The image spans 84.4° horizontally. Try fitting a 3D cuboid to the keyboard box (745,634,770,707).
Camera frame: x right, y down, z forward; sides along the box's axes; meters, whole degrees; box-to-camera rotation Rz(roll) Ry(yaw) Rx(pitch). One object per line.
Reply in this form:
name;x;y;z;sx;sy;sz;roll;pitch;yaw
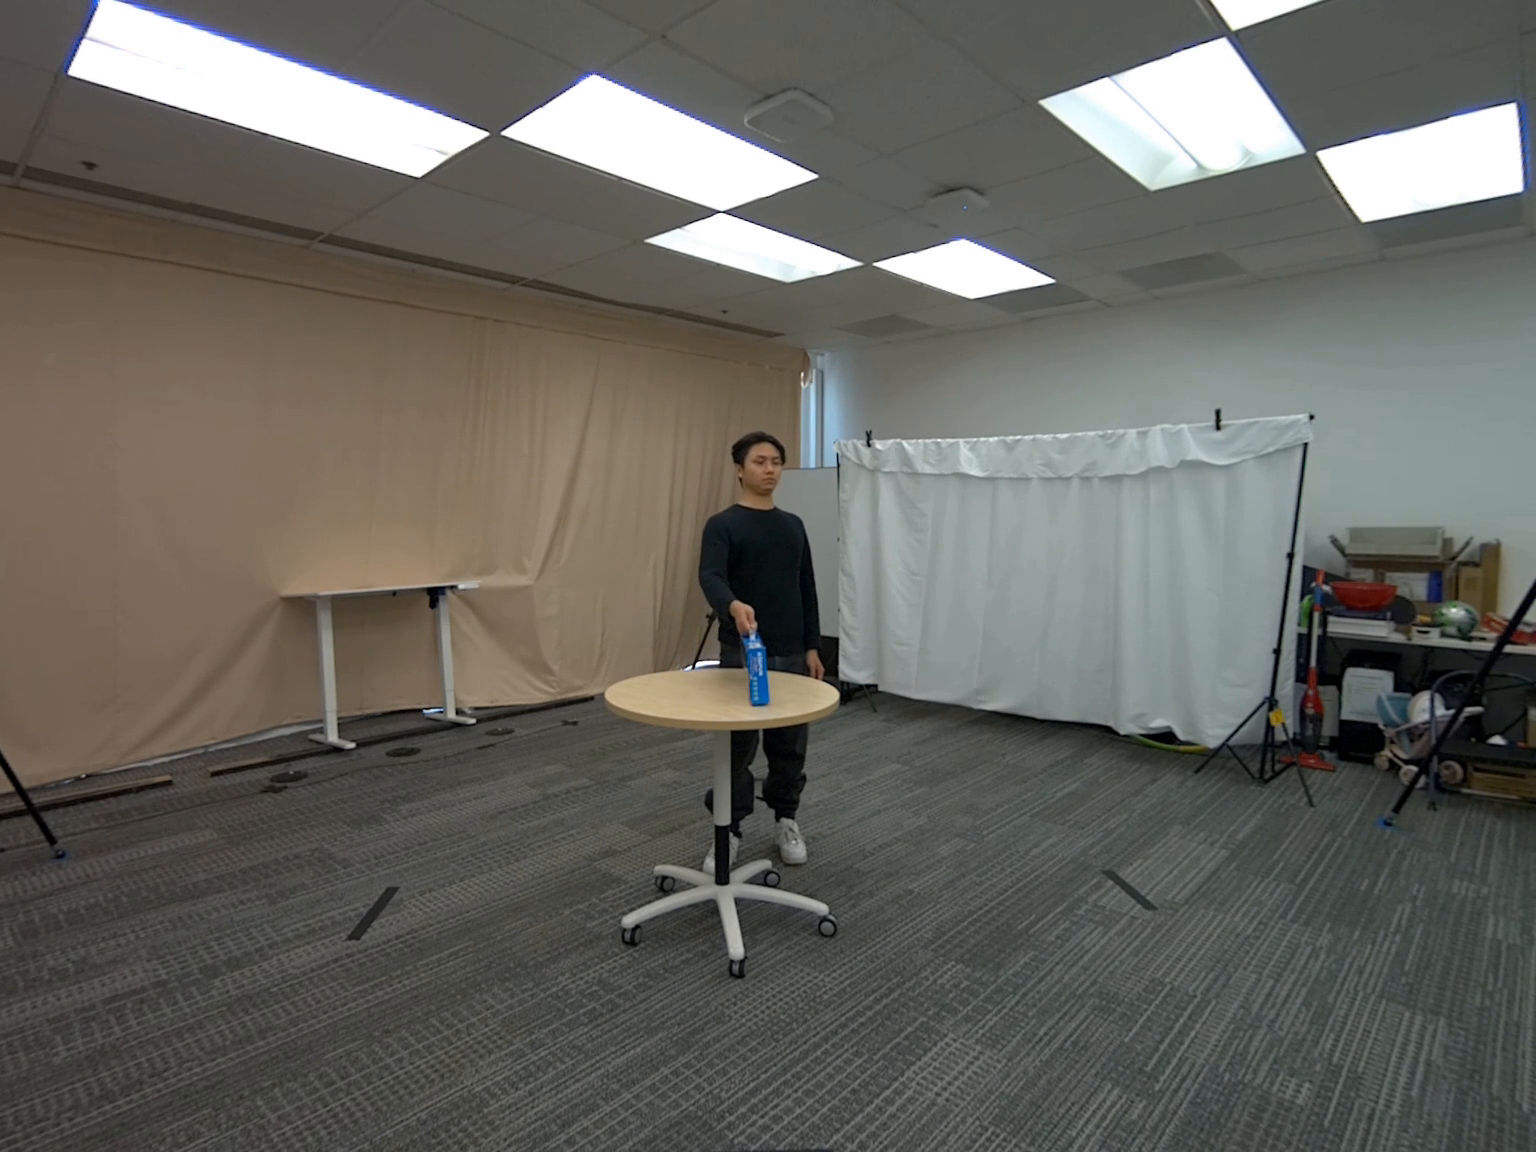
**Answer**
keyboard box;-0.052;0.278;2.772;0.059;0.175;0.441;-5;7;-6
